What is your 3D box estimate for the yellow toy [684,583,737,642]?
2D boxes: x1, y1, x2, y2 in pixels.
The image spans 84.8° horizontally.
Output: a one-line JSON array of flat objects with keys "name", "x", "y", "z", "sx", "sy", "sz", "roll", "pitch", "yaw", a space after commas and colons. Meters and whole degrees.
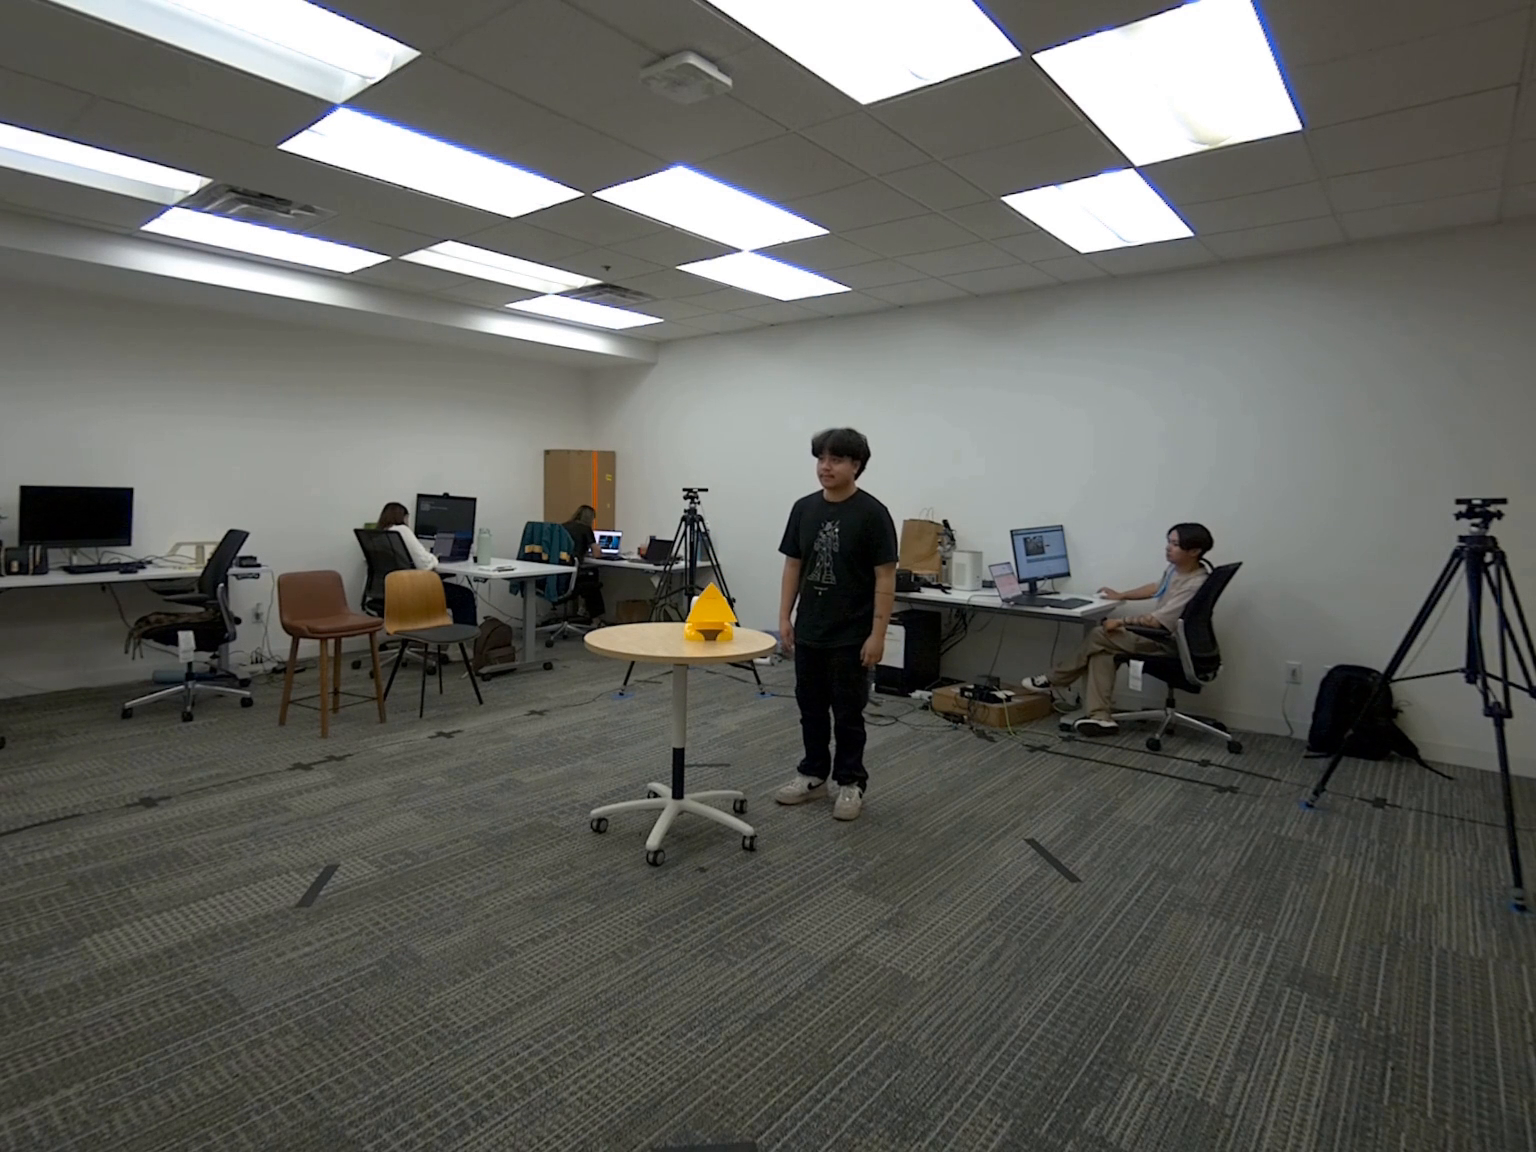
[{"name": "yellow toy", "x": -0.253, "y": 0.131, "z": 3.421, "sx": 0.203, "sy": 0.230, "sz": 0.196, "roll": 0, "pitch": 5, "yaw": -10}]
